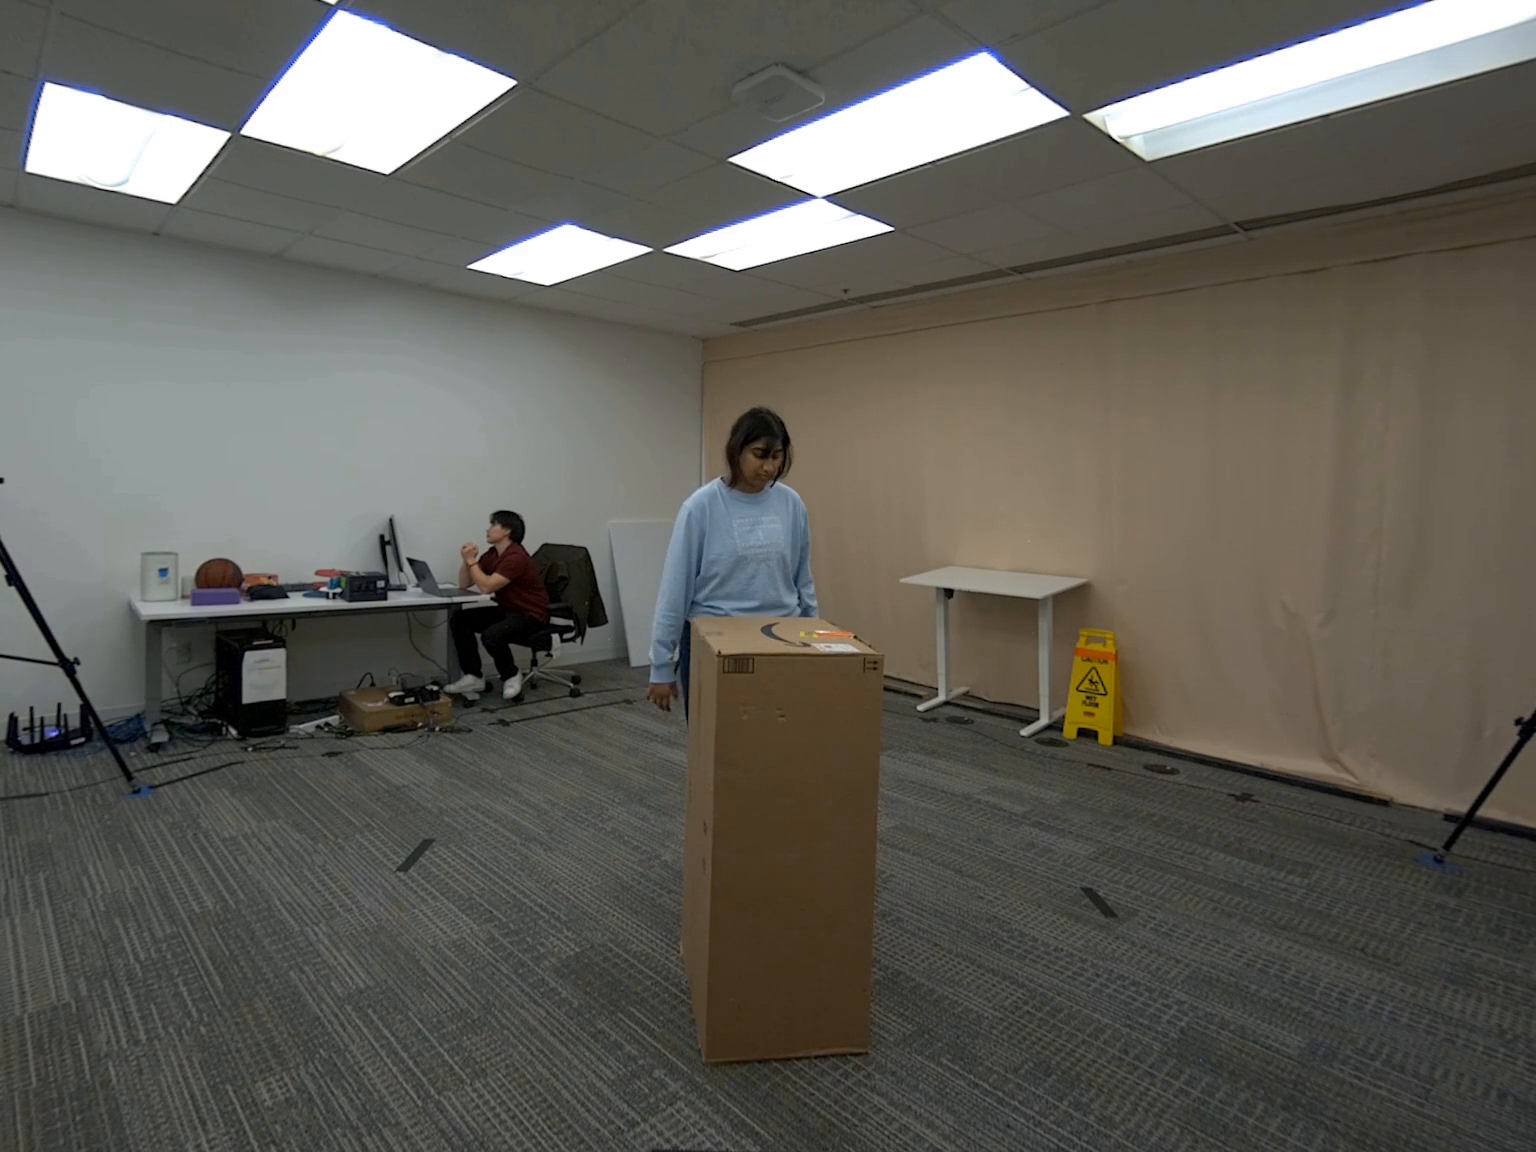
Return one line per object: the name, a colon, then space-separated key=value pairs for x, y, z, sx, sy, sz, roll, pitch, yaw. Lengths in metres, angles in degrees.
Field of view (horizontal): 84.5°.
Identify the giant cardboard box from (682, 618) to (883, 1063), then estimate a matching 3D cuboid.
giant cardboard box: x=0.007 y=0.668 z=2.340 sx=0.443 sy=1.024 sz=0.590 roll=2 pitch=4 yaw=-10
